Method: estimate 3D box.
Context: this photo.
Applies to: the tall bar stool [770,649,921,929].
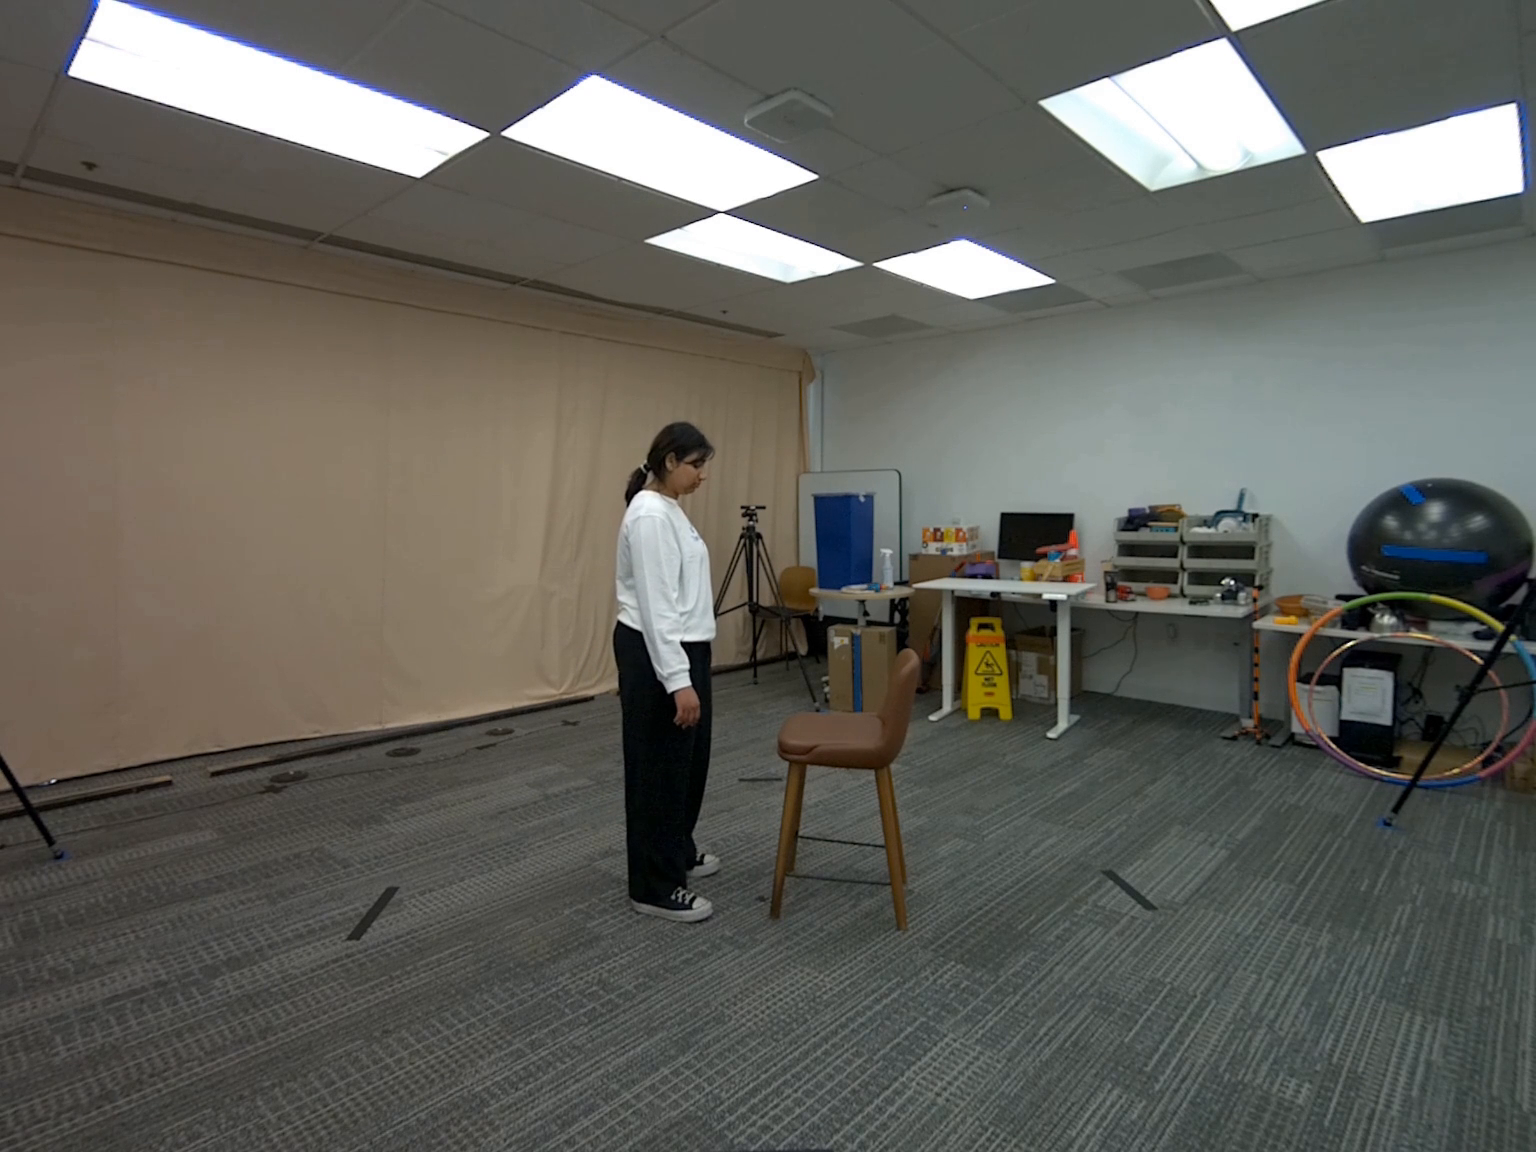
[{"bbox_3d":[0.275,0.712,2.955,0.474,0.888,0.451,2,4,12],"label":"tall bar stool"}]
